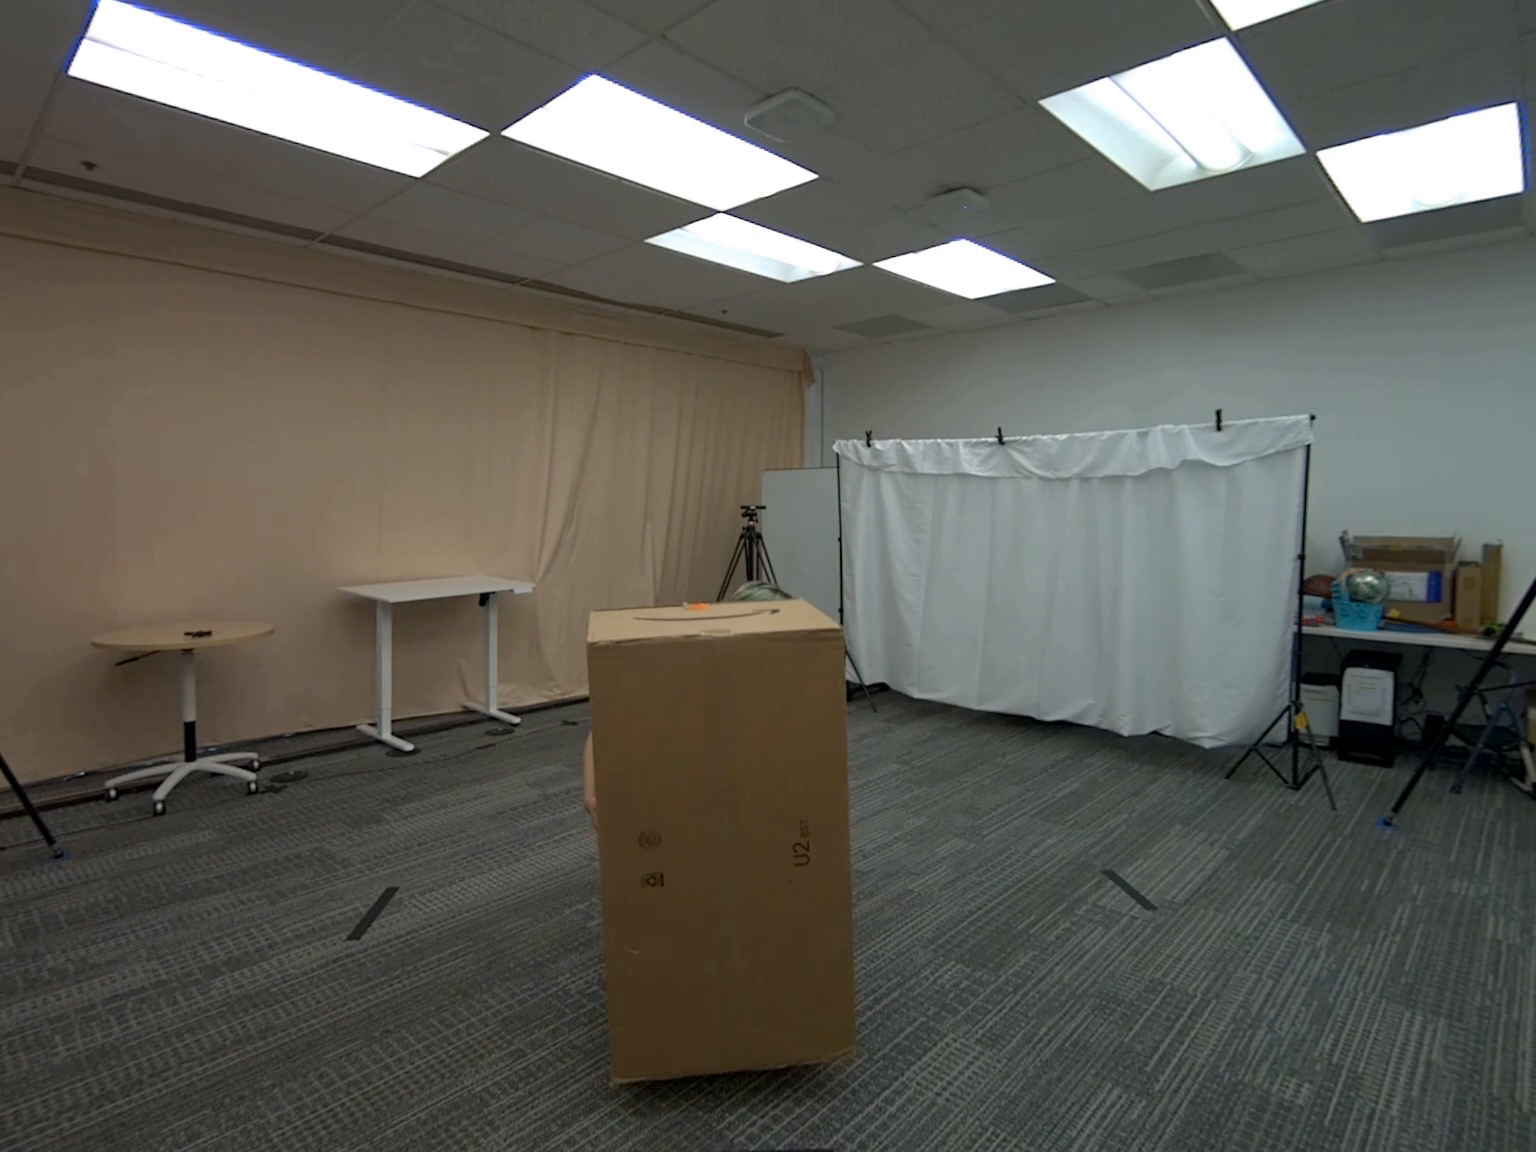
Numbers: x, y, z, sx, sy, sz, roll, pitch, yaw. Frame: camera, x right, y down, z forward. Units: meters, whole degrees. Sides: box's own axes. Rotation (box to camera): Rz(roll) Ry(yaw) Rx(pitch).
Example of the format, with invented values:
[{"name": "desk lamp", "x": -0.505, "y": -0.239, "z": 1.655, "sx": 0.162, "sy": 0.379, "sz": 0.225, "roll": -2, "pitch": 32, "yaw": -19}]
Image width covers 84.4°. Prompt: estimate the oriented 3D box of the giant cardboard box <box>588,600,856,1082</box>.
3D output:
[{"name": "giant cardboard box", "x": -0.128, "y": 0.599, "z": 2.090, "sx": 0.579, "sy": 1.023, "sz": 0.453, "roll": -3, "pitch": 6, "yaw": -9}]
